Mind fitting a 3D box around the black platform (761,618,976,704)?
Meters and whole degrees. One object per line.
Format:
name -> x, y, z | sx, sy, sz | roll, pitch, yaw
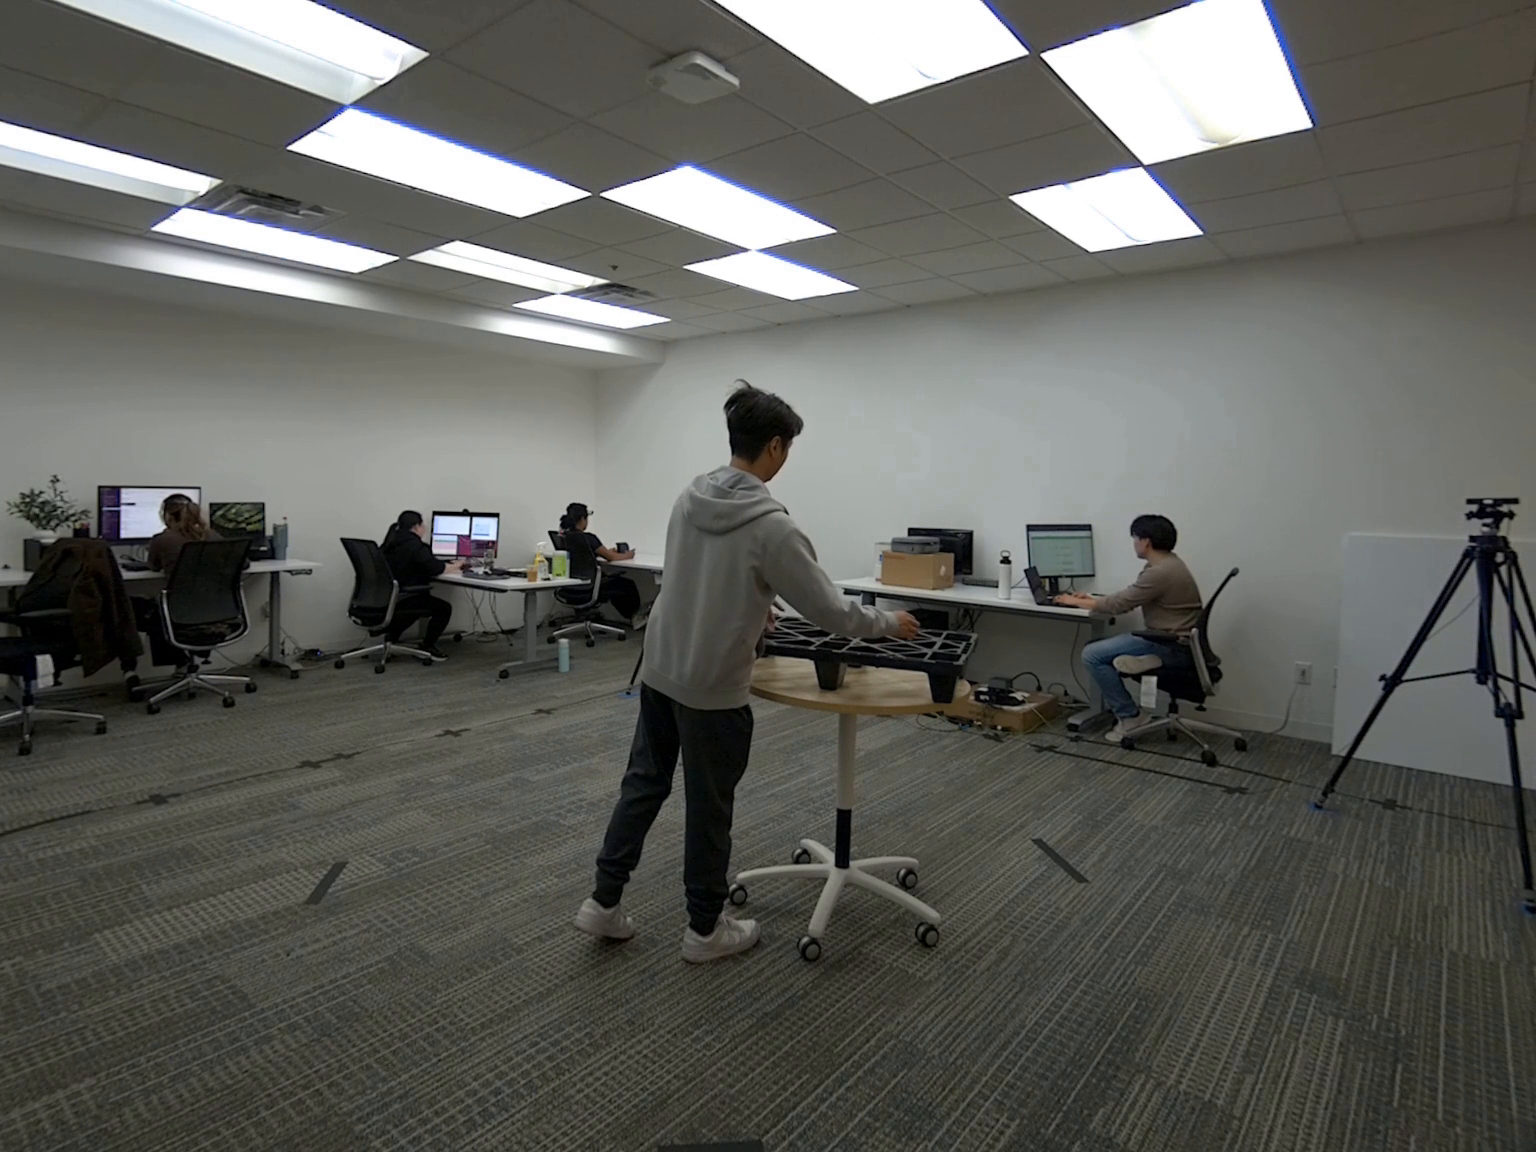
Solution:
black platform -> 0.248, 0.257, 2.802 | 0.823, 0.142, 0.595 | 3, 7, 19
